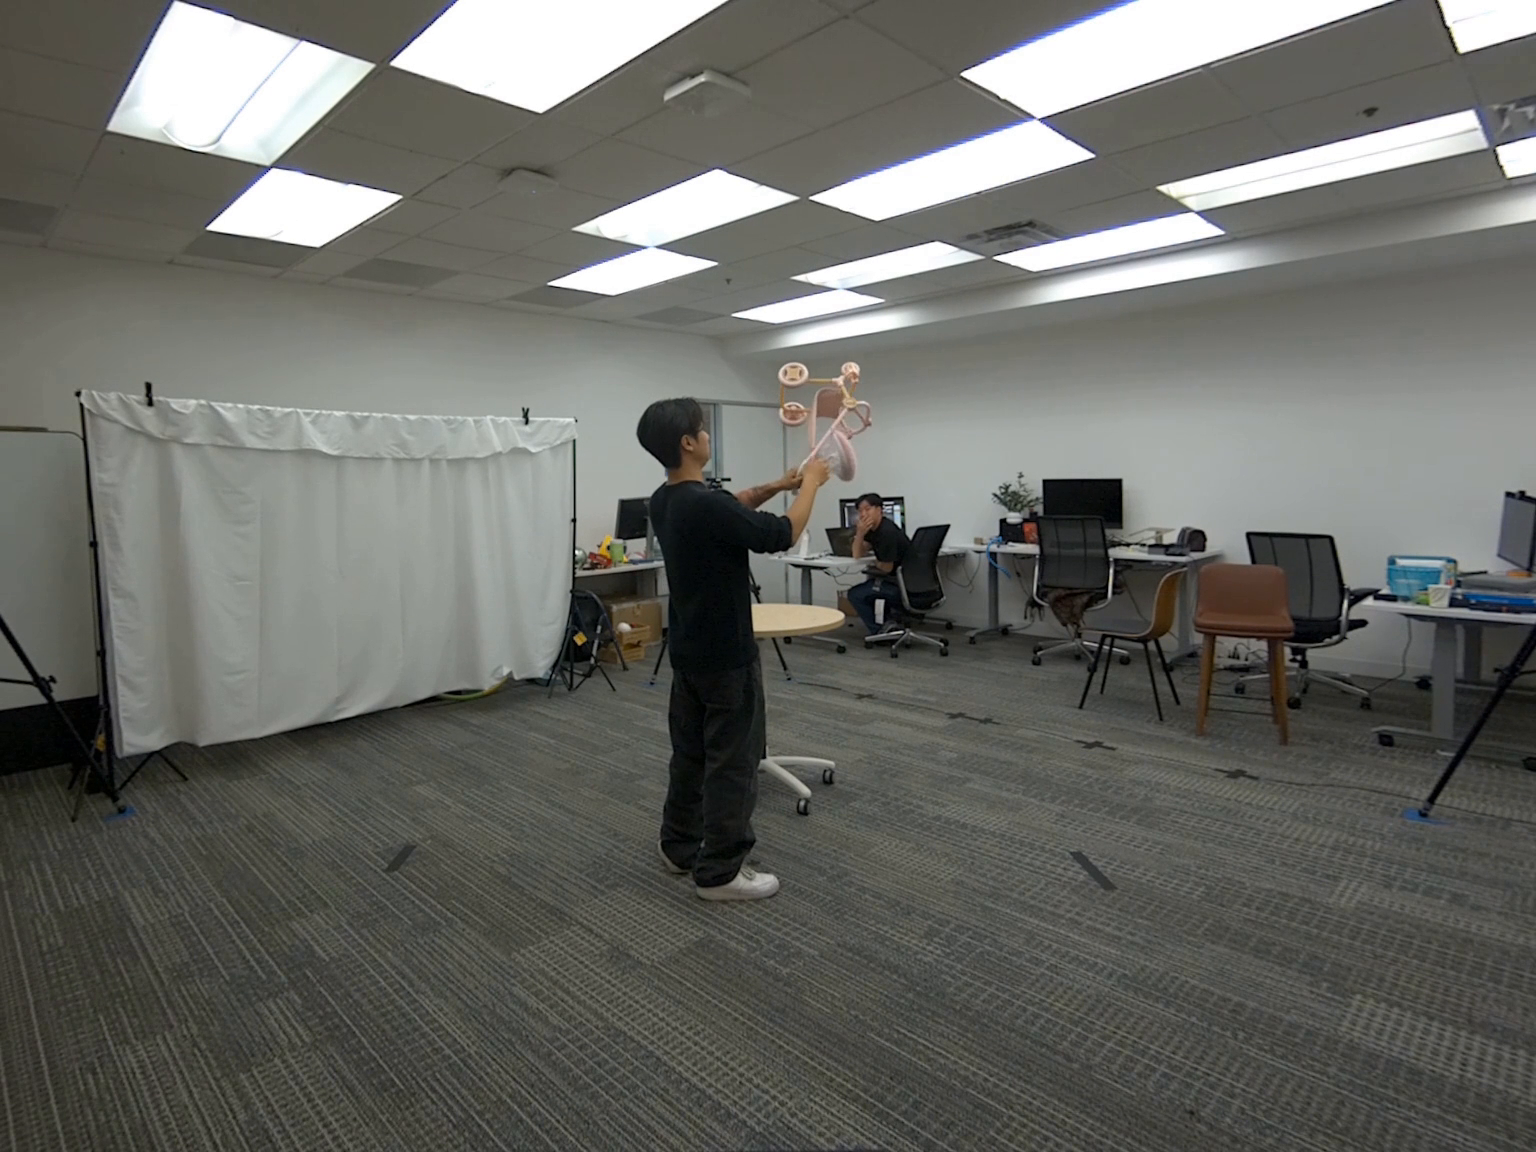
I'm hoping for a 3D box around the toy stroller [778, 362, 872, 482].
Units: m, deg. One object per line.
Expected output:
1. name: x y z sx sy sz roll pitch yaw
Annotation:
1. toy stroller: 0.231 -0.565 3.180 0.339 0.549 0.276 -6 -28 -7
